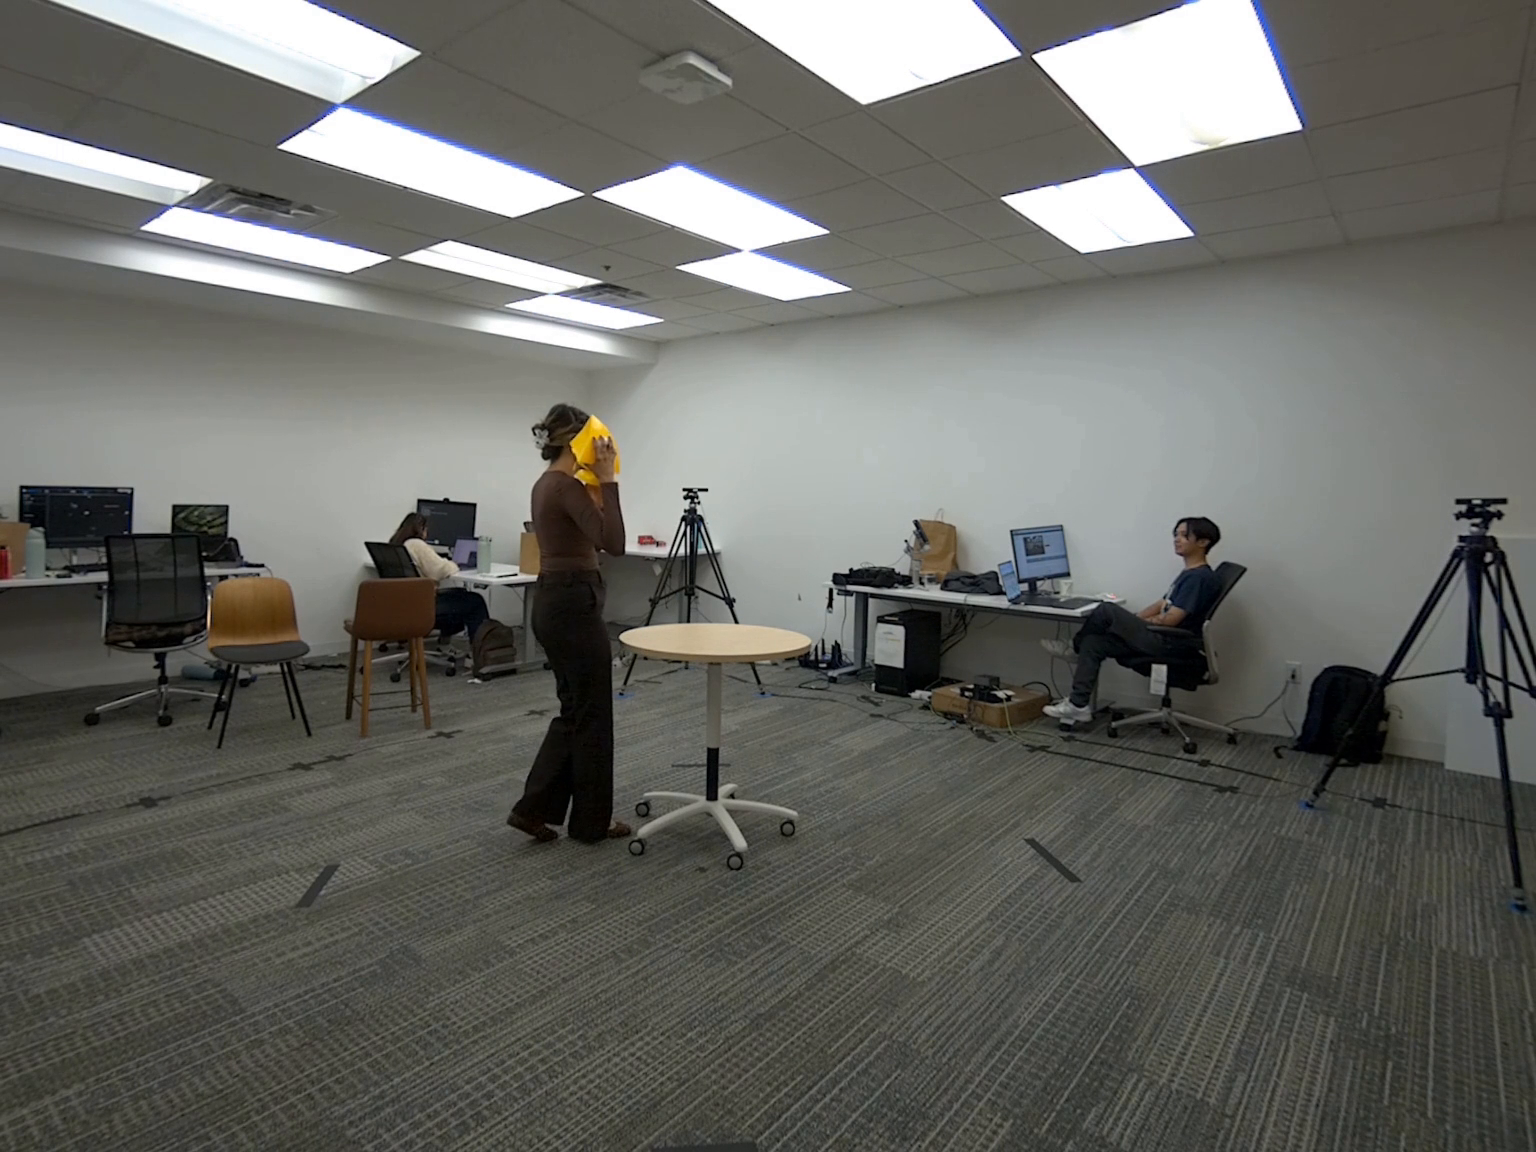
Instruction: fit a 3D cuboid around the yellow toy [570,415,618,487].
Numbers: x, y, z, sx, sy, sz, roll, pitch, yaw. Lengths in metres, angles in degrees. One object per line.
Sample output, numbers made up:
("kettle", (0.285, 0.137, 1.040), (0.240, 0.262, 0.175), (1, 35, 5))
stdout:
("yellow toy", (-0.637, -0.480, 3.150), (0.188, 0.228, 0.213), (9, 22, -25))
